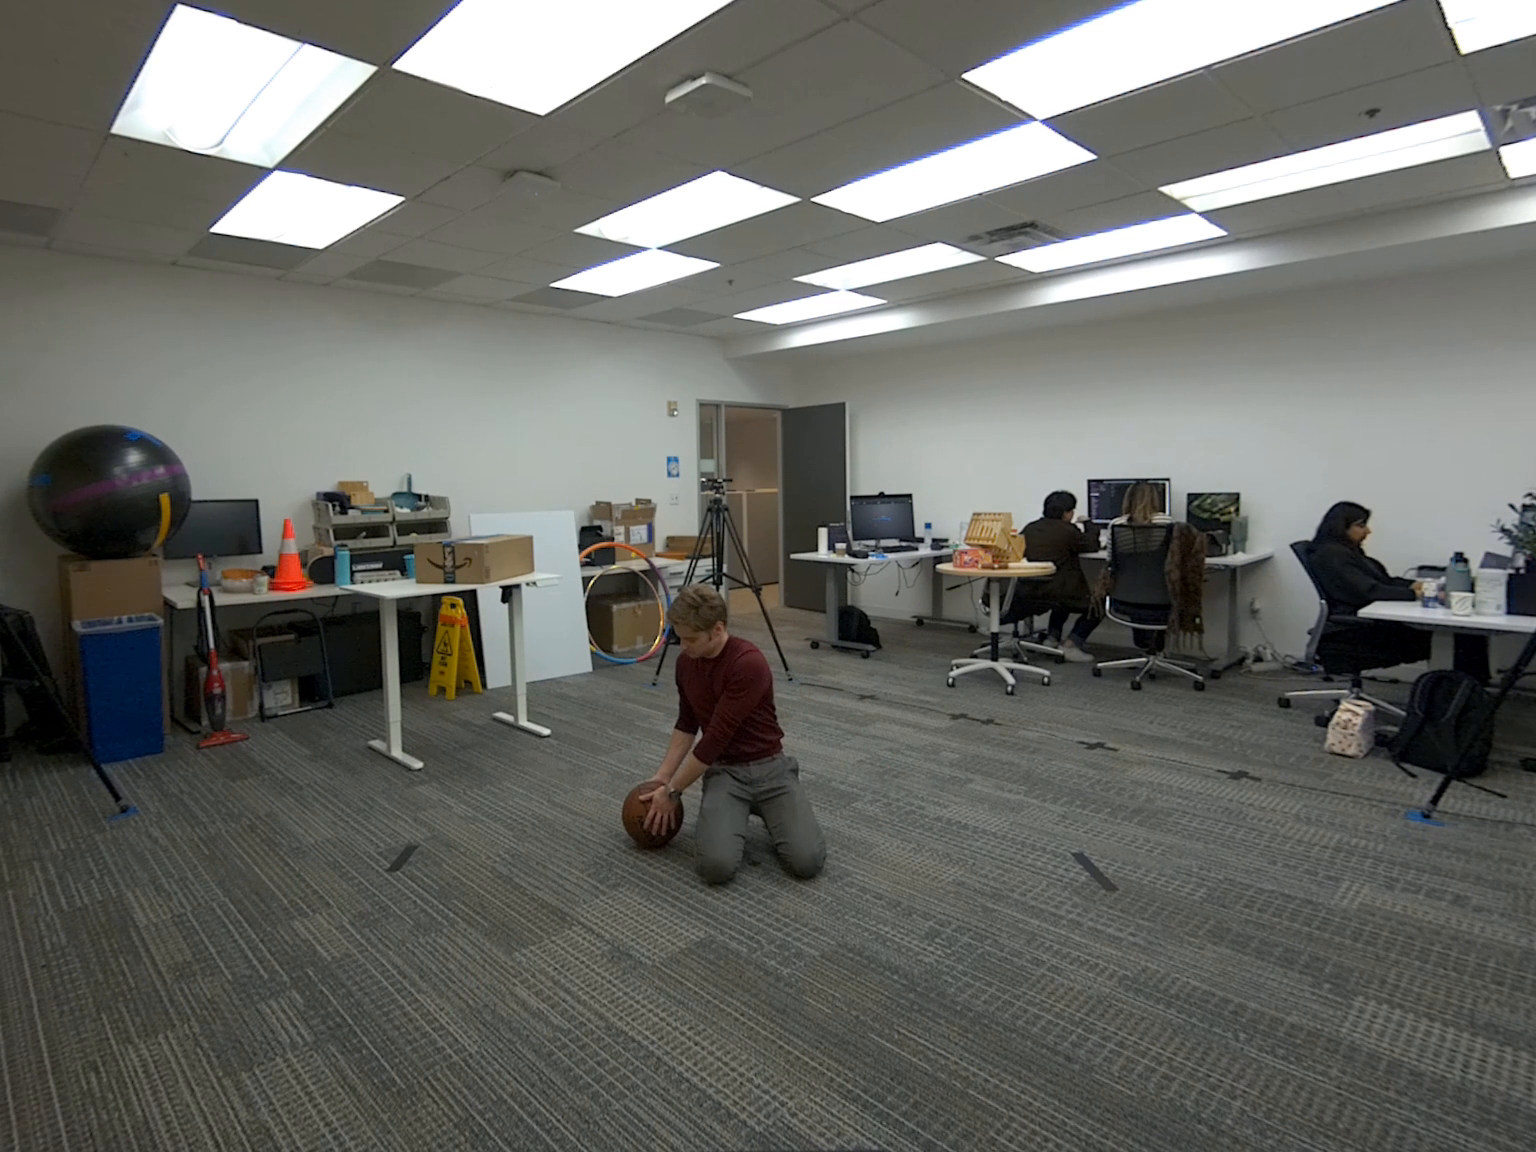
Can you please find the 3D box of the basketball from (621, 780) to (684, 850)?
[{"bbox_3d":[-0.439,0.906,3.279,0.236,0.235,0.237,-1,5,-2],"label":"basketball"}]
